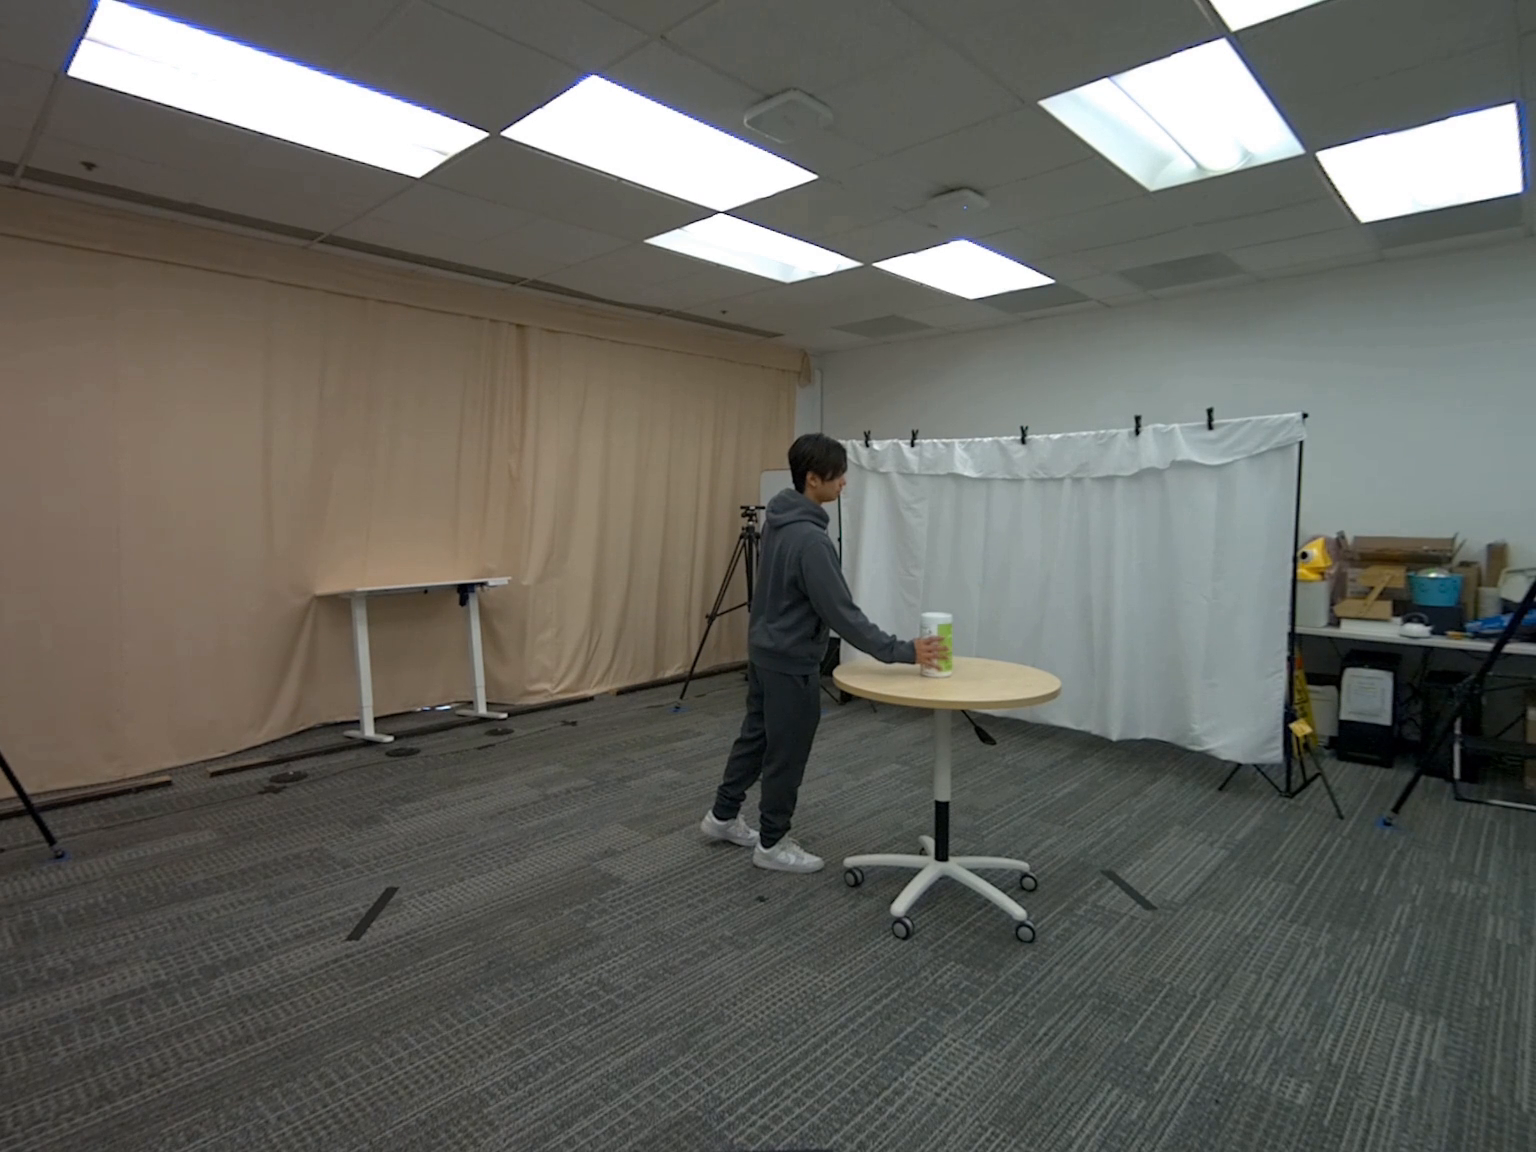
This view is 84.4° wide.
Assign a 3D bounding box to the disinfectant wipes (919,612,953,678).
[{"bbox_3d":[0.595,0.244,2.944,0.118,0.217,0.118,-1,3,-2],"label":"disinfectant wipes"}]
